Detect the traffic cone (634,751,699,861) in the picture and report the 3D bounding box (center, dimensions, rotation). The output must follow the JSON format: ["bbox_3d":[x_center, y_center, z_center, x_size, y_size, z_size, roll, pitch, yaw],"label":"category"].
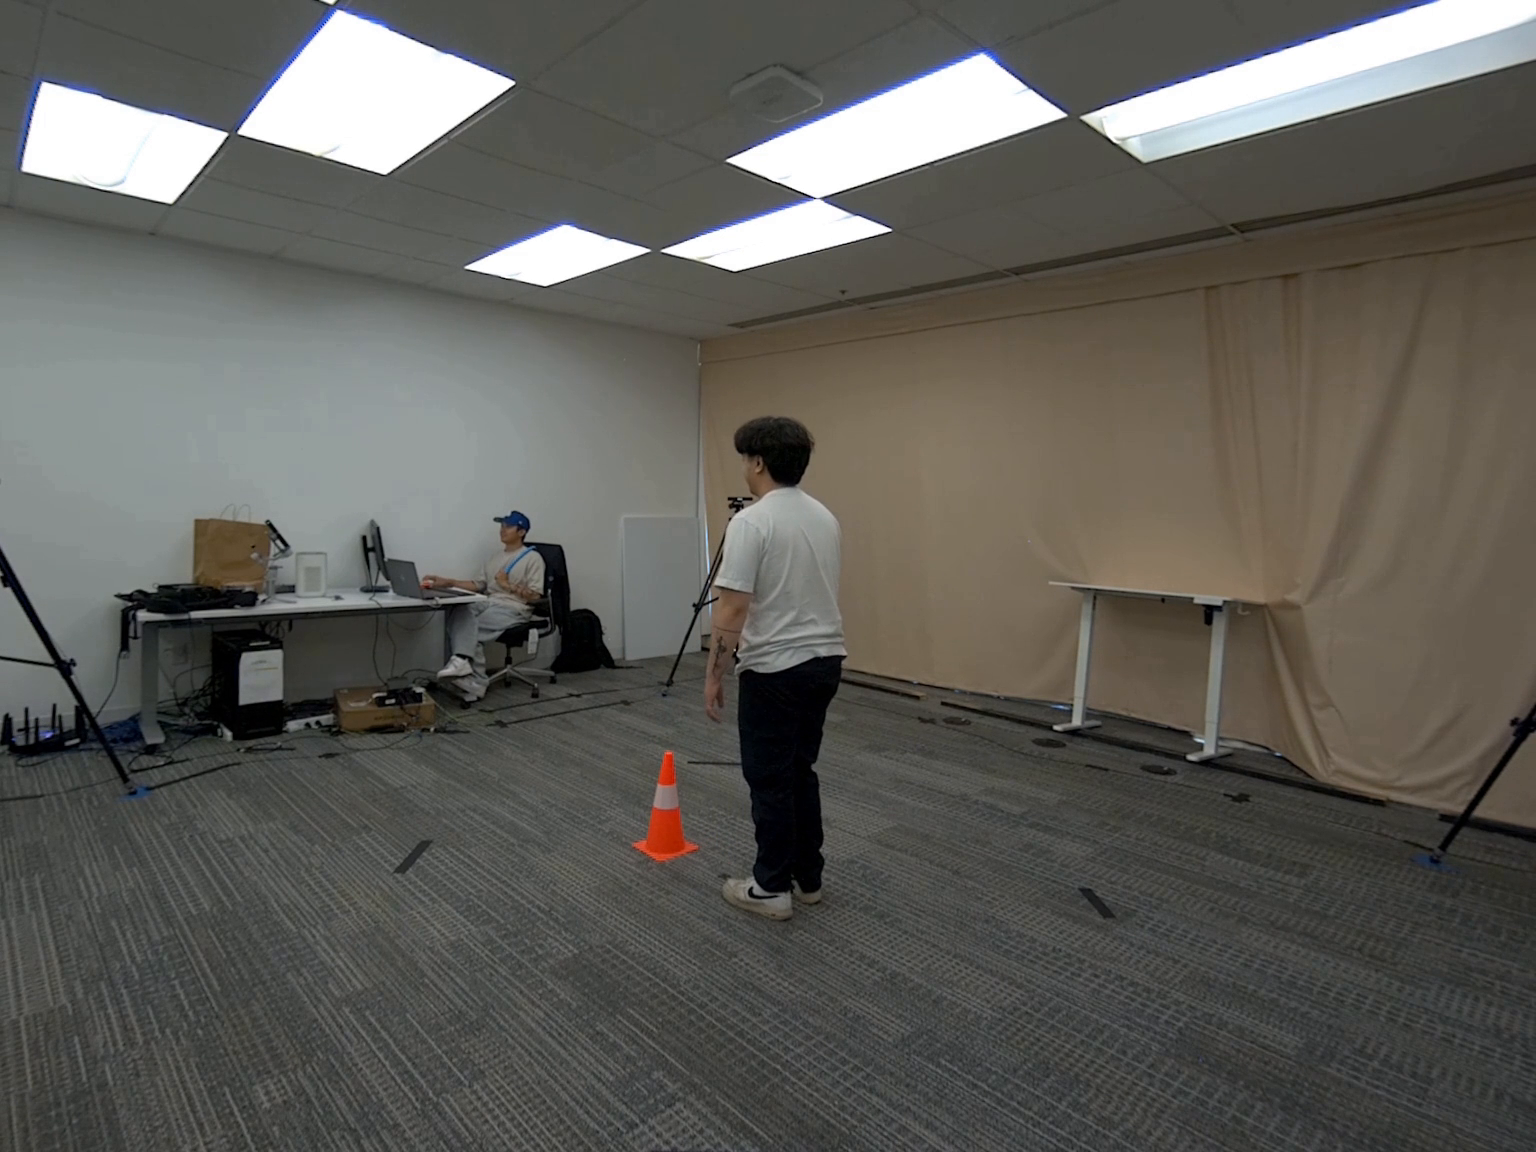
[{"bbox_3d":[-0.410,0.891,3.347,0.200,0.383,0.208,0,3,-40],"label":"traffic cone"}]
